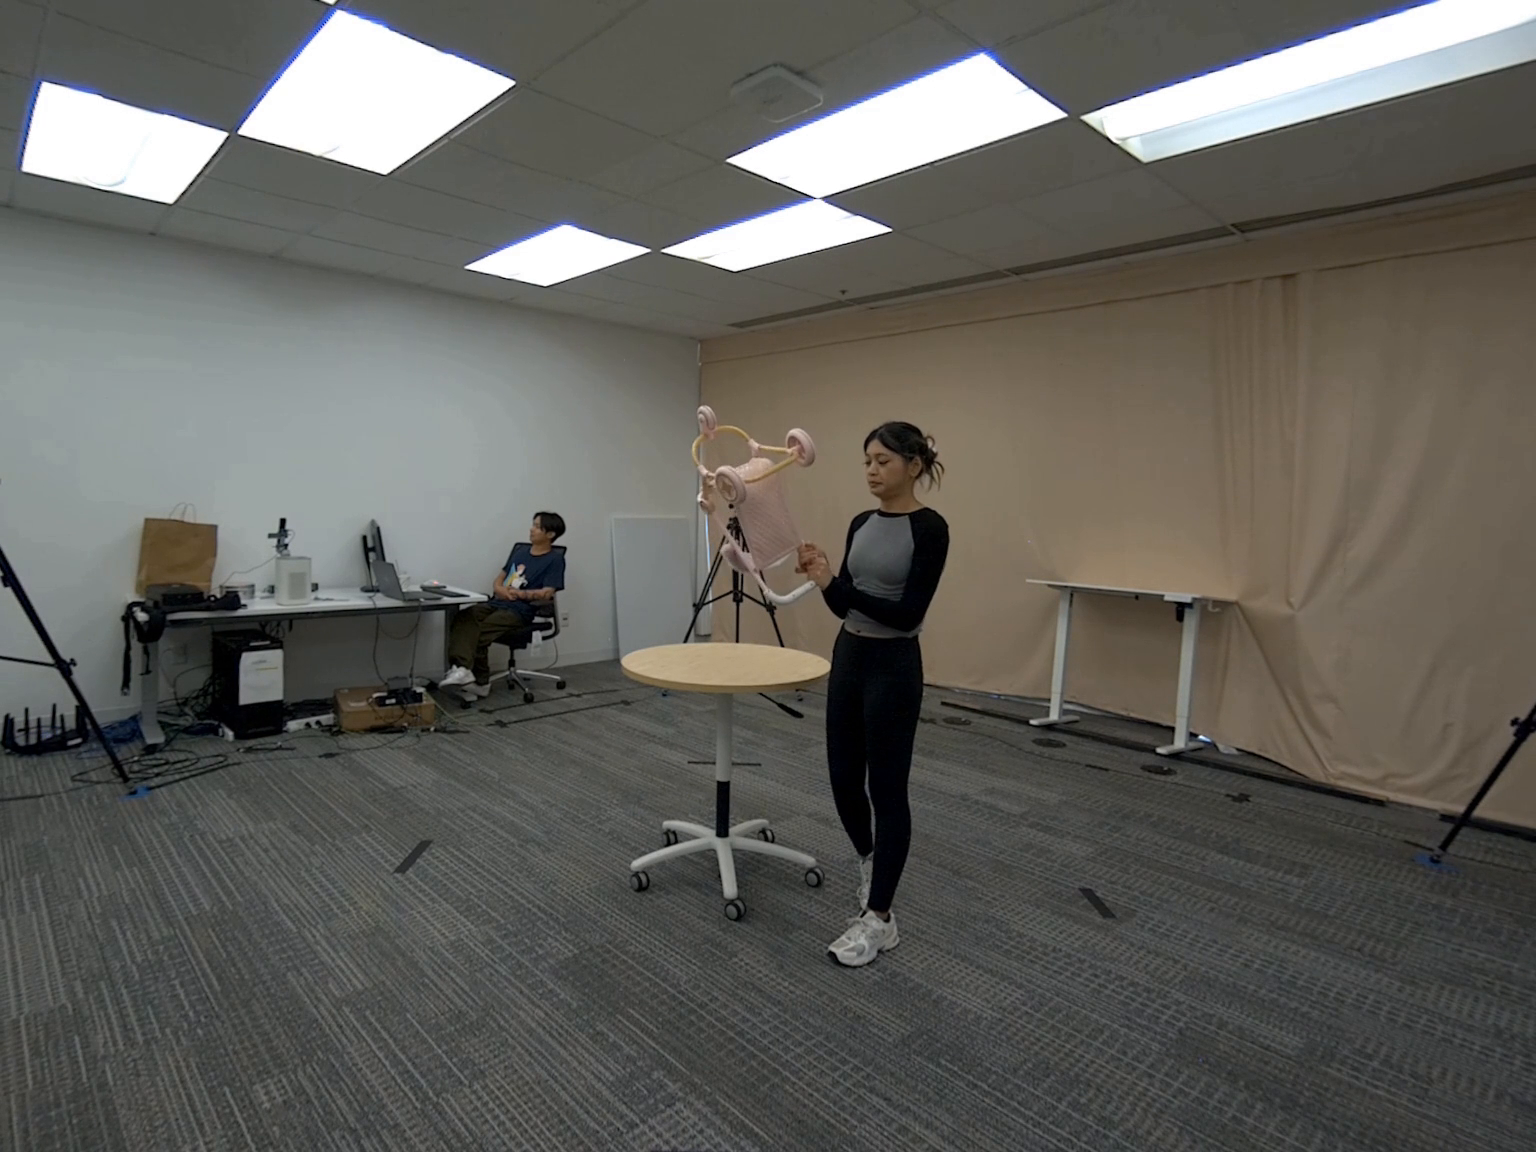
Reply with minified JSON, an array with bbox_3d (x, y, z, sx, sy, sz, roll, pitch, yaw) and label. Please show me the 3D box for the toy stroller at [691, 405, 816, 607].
[{"bbox_3d":[-0.055,-0.207,2.395,0.279,0.522,0.352,-34,40,-31],"label":"toy stroller"}]
